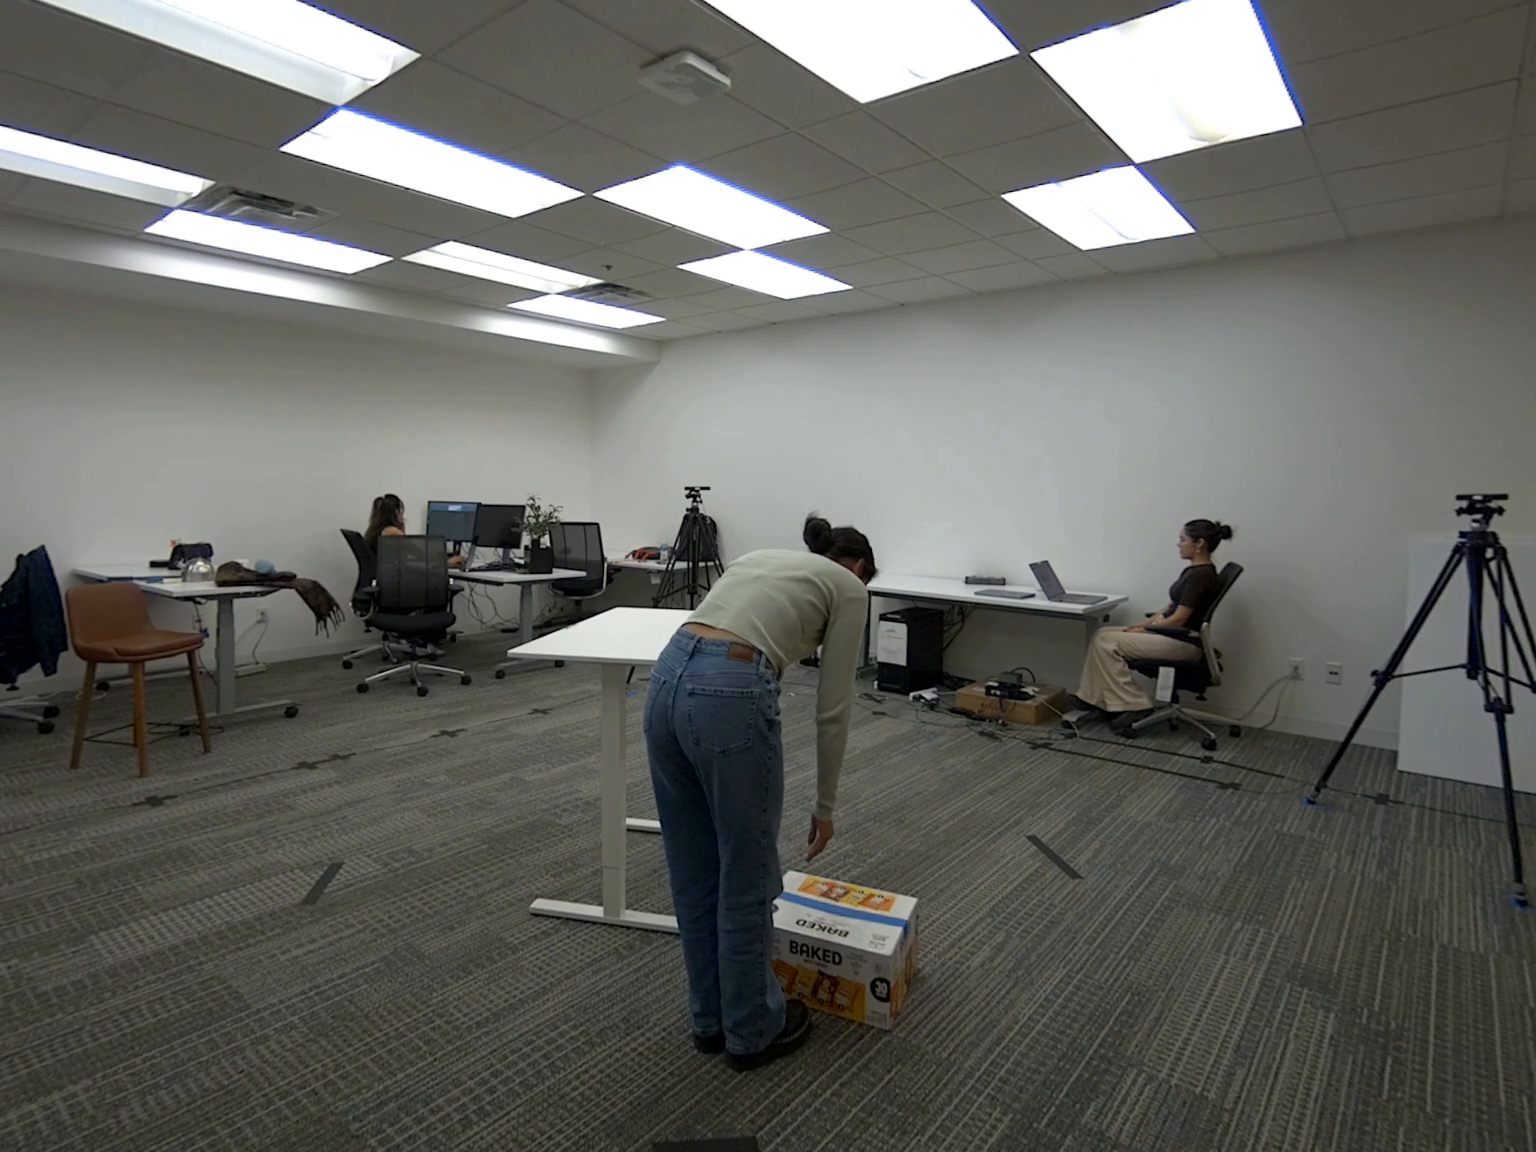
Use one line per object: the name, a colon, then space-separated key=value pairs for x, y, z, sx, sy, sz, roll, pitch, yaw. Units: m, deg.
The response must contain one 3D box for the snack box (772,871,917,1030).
snack box: x=0.182 y=1.040 z=2.410 sx=0.415 sy=0.205 sz=0.333 roll=3 pitch=5 yaw=24
